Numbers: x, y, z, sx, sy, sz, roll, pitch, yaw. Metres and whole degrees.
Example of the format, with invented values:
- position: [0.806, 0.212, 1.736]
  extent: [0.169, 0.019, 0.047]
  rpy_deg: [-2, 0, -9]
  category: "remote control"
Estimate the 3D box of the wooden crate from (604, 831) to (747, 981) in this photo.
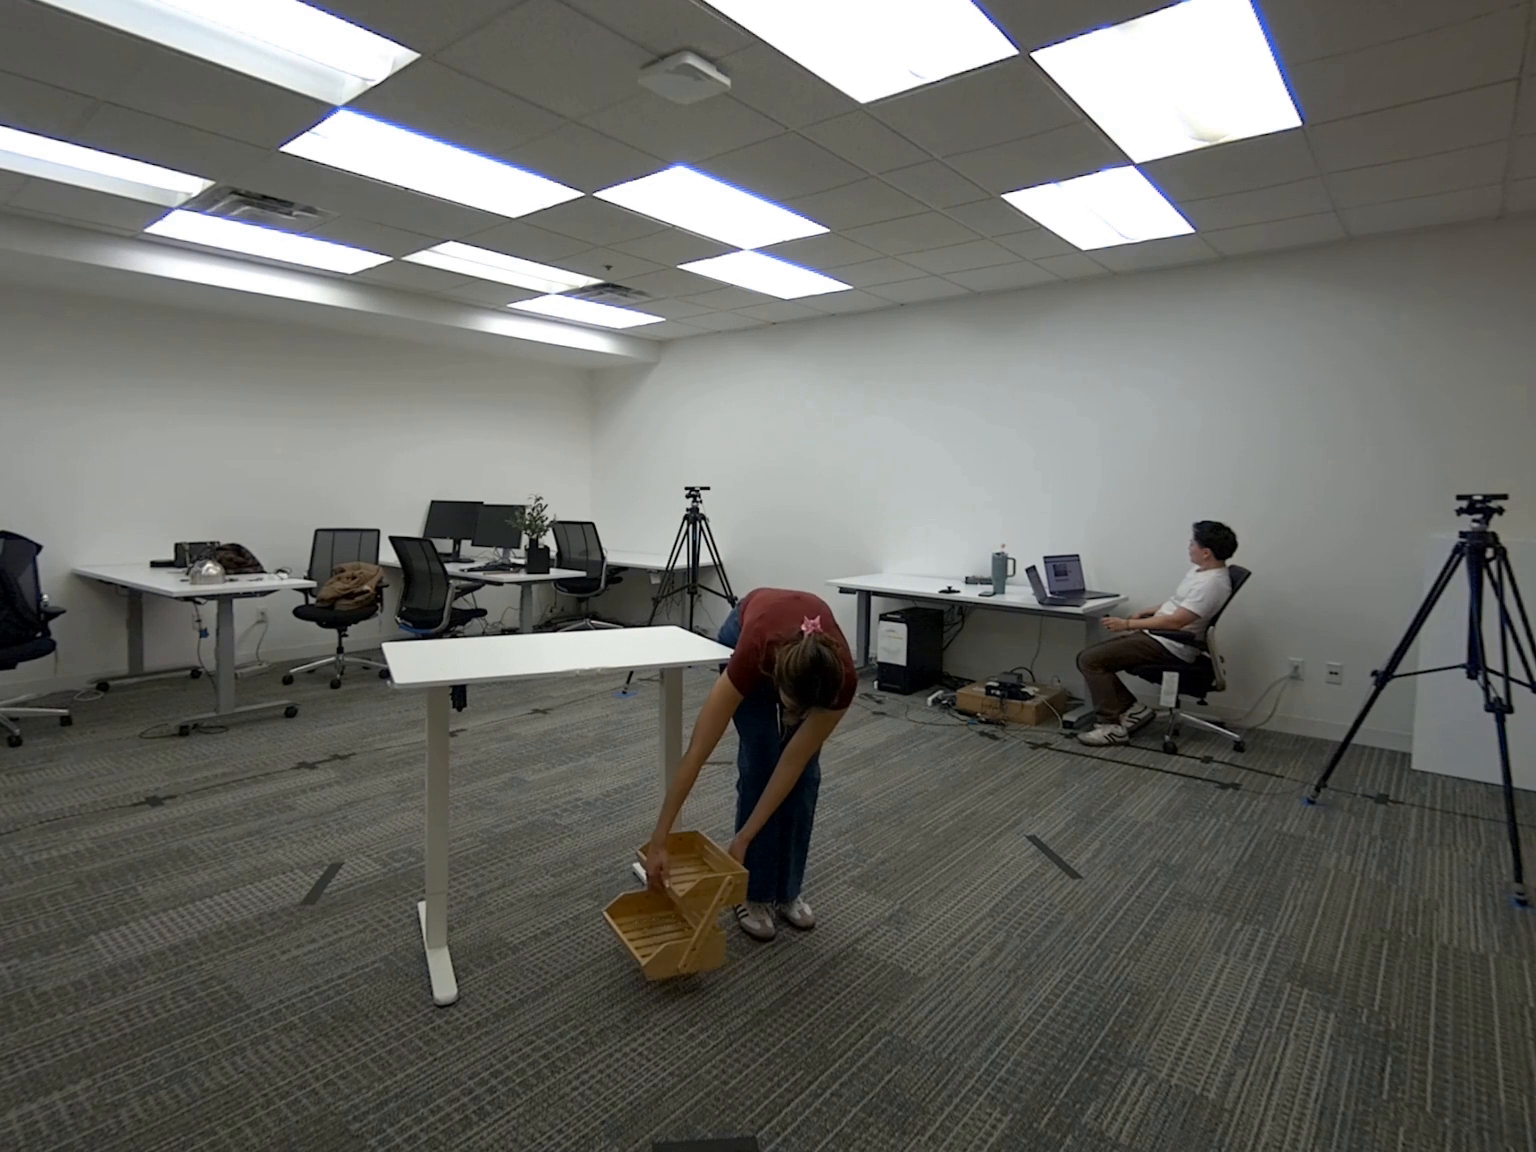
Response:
- position: [-0.281, 0.919, 2.429]
  extent: [0.293, 0.272, 0.335]
  rpy_deg: [3, 5, -32]
  category: "wooden crate"
